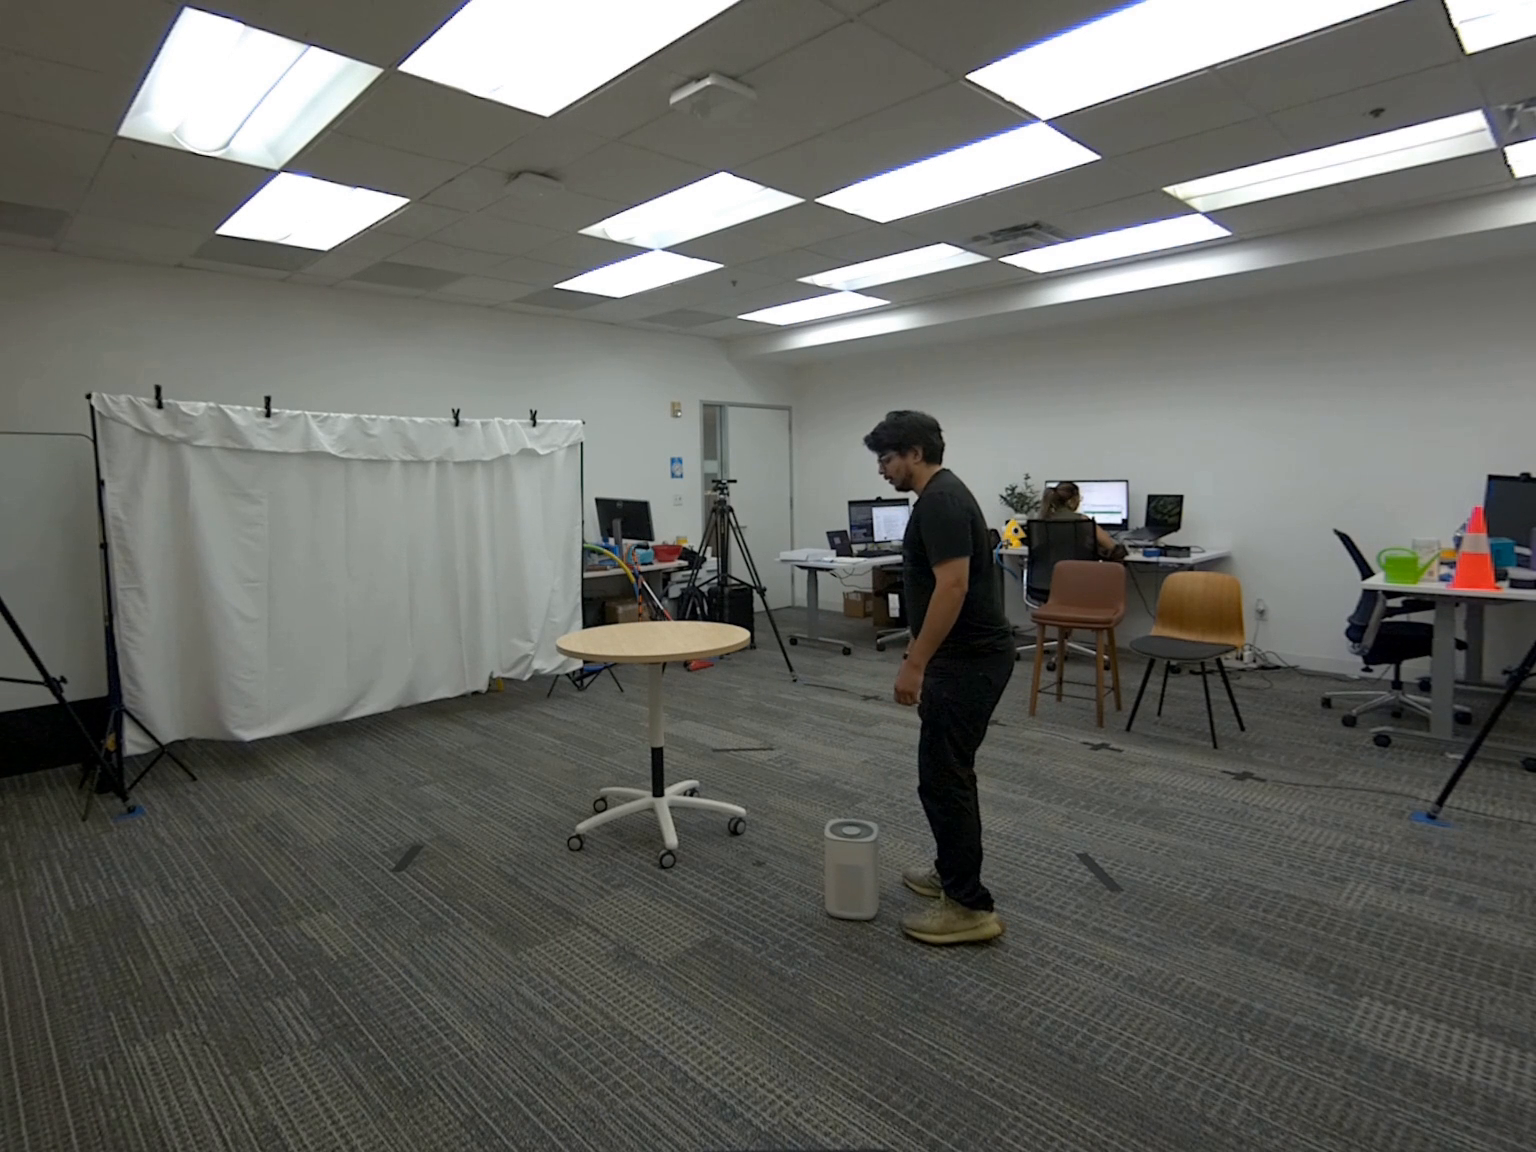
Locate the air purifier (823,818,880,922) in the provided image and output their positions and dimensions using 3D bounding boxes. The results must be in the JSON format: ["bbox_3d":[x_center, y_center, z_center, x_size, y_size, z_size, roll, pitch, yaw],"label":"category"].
[{"bbox_3d":[0.280,0.950,2.755,0.176,0.261,0.166,0,4,15],"label":"air purifier"}]
